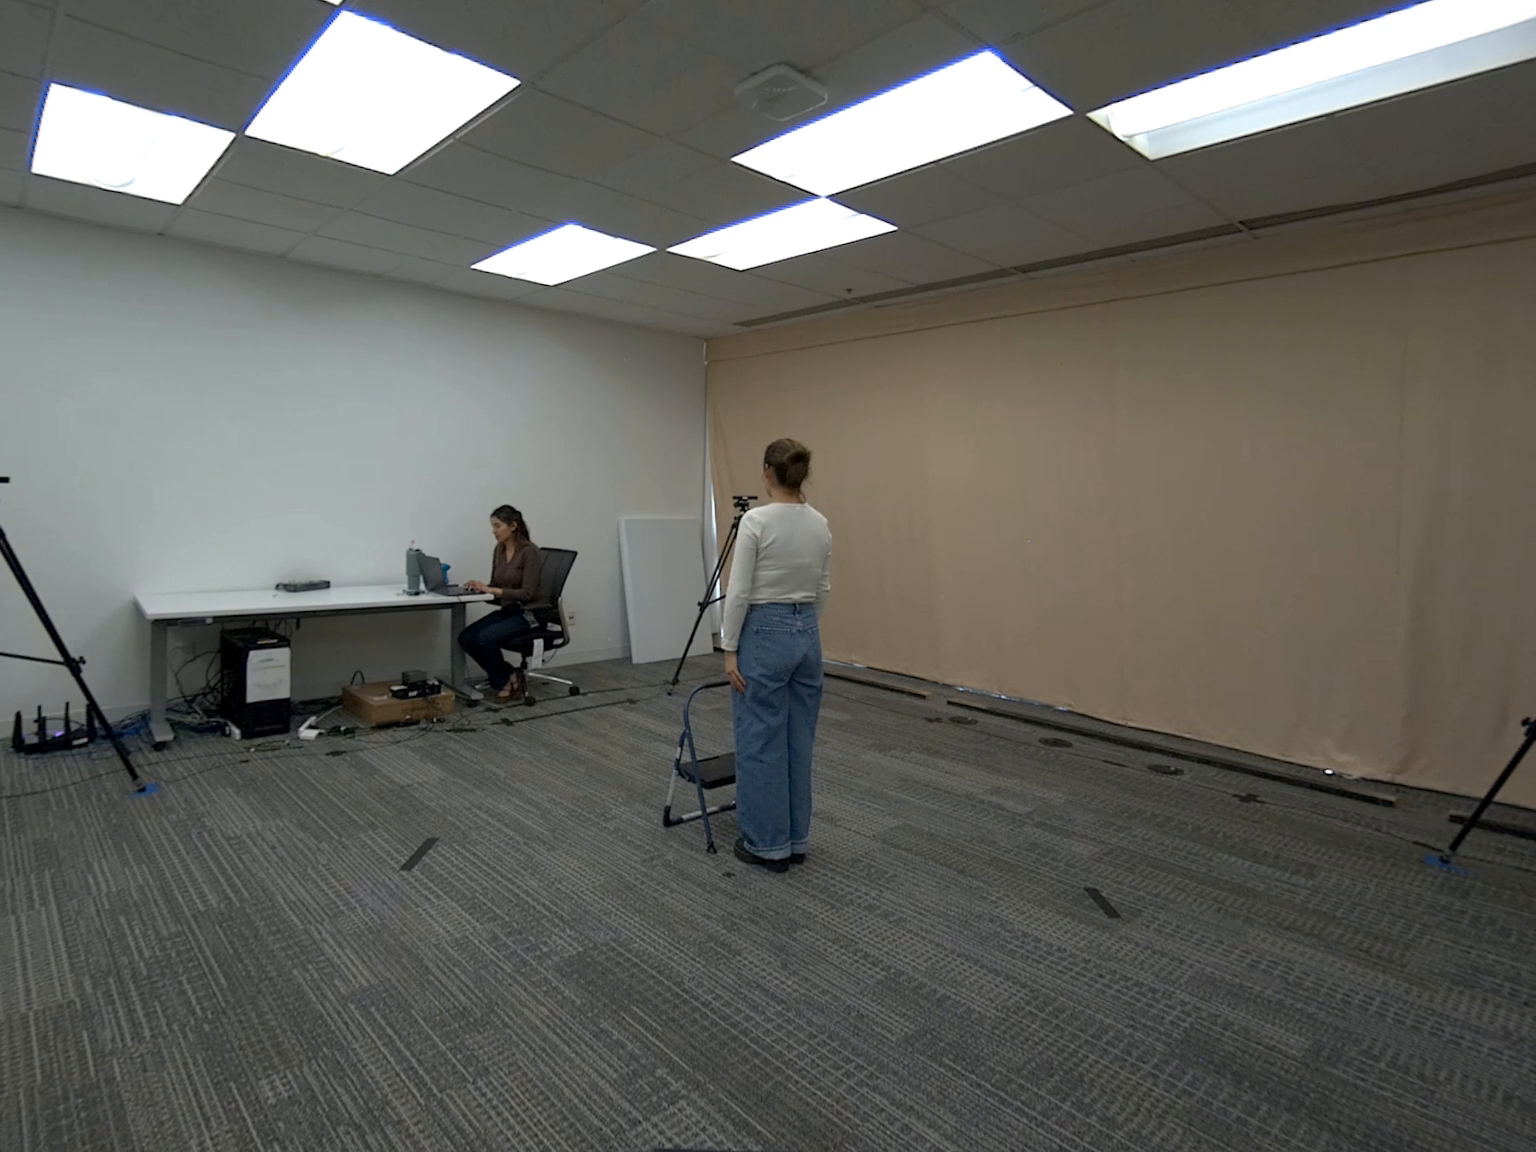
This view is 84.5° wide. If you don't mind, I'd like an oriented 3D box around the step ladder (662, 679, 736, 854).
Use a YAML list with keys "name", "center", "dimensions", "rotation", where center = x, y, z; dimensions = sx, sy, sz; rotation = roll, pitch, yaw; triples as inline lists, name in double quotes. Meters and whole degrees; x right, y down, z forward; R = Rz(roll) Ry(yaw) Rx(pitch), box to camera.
- name: "step ladder"
  center: [-0.181, 0.762, 3.539]
  dimensions: [0.420, 0.605, 0.358]
  rotation: [-1, 4, -42]
